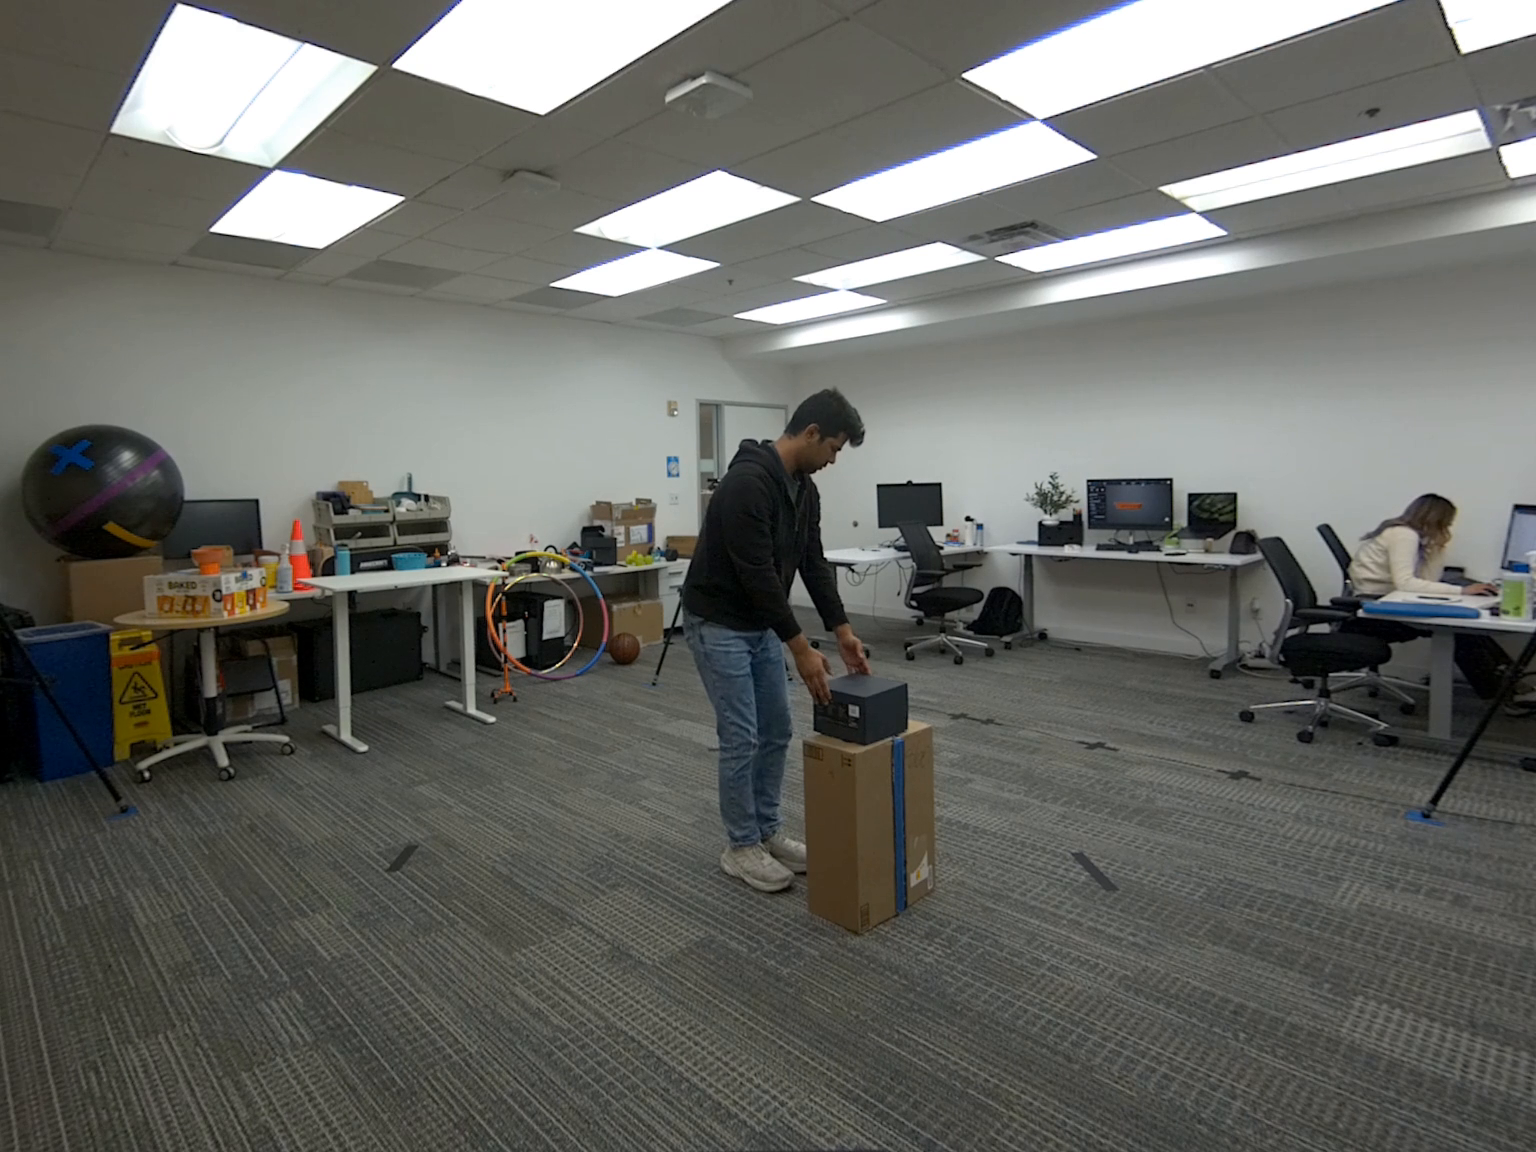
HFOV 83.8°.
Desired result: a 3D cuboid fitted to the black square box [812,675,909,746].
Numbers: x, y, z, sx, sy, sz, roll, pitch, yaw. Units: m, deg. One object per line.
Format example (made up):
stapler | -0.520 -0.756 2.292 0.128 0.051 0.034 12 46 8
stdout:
black square box | 0.310 0.419 2.791 0.224 0.155 0.222 5 10 45
